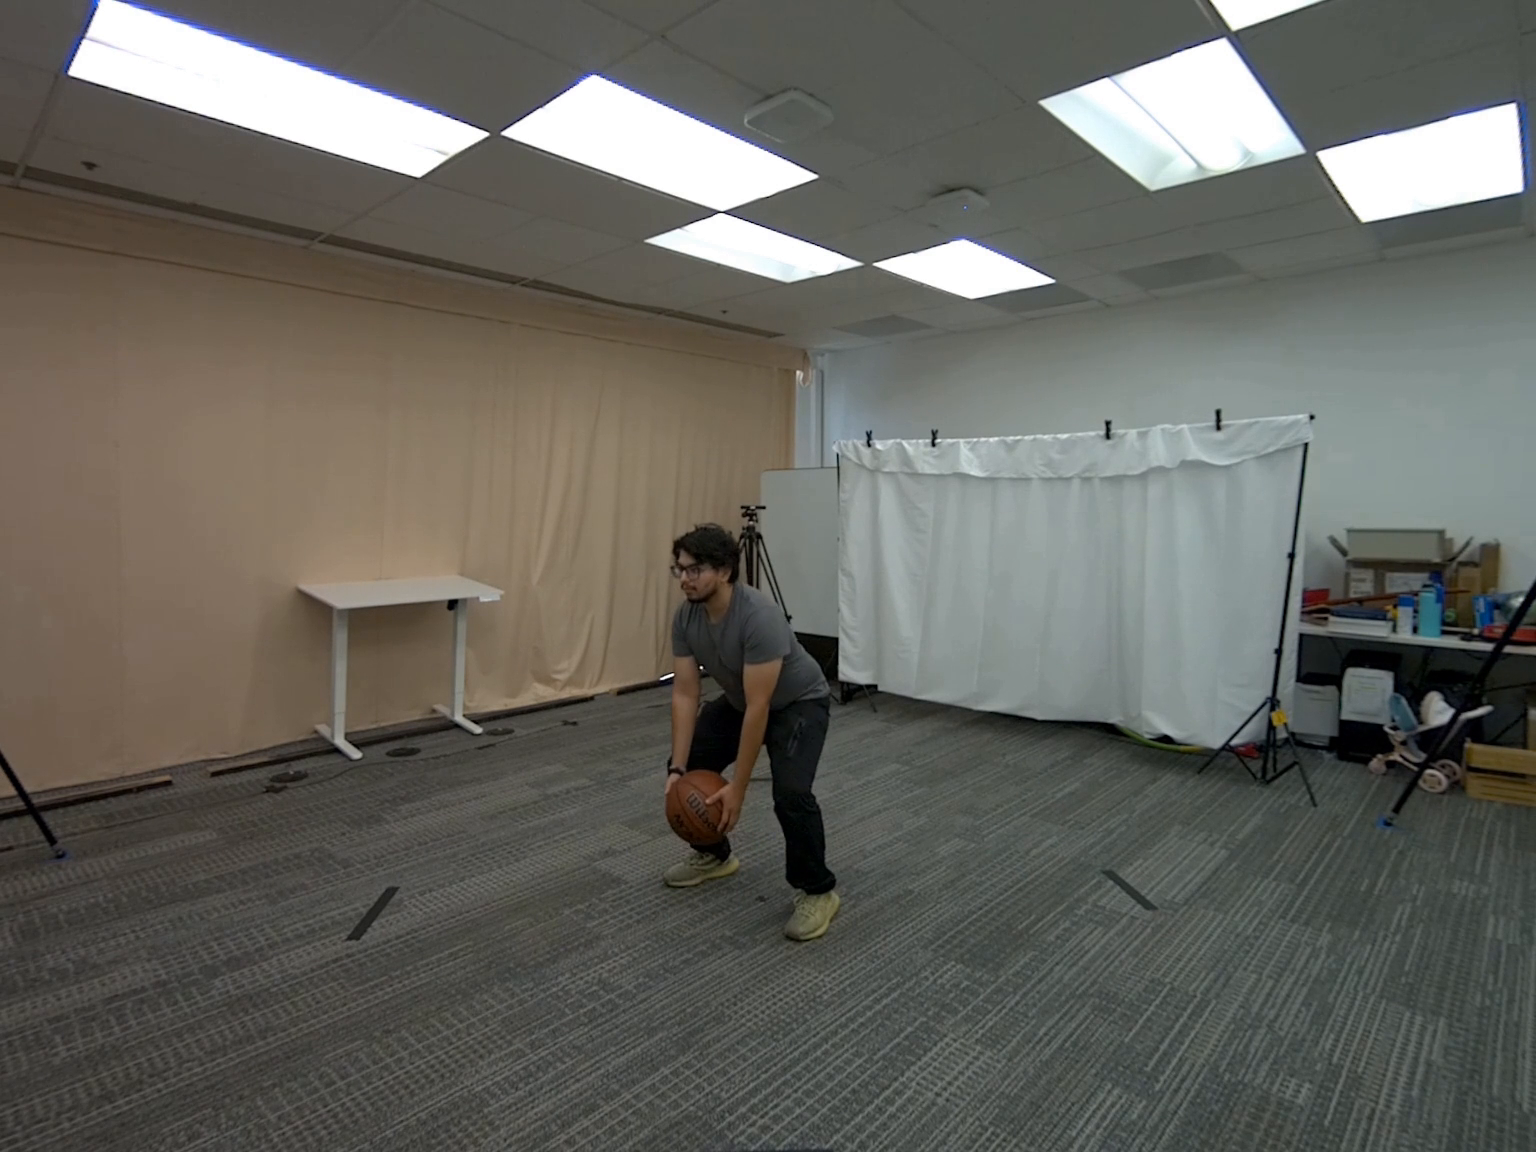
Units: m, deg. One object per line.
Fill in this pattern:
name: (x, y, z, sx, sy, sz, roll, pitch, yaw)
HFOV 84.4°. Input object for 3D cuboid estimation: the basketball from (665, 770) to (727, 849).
basketball: (-0.221, 0.759, 2.790, 0.236, 0.235, 0.237, 0, 4, -2)
